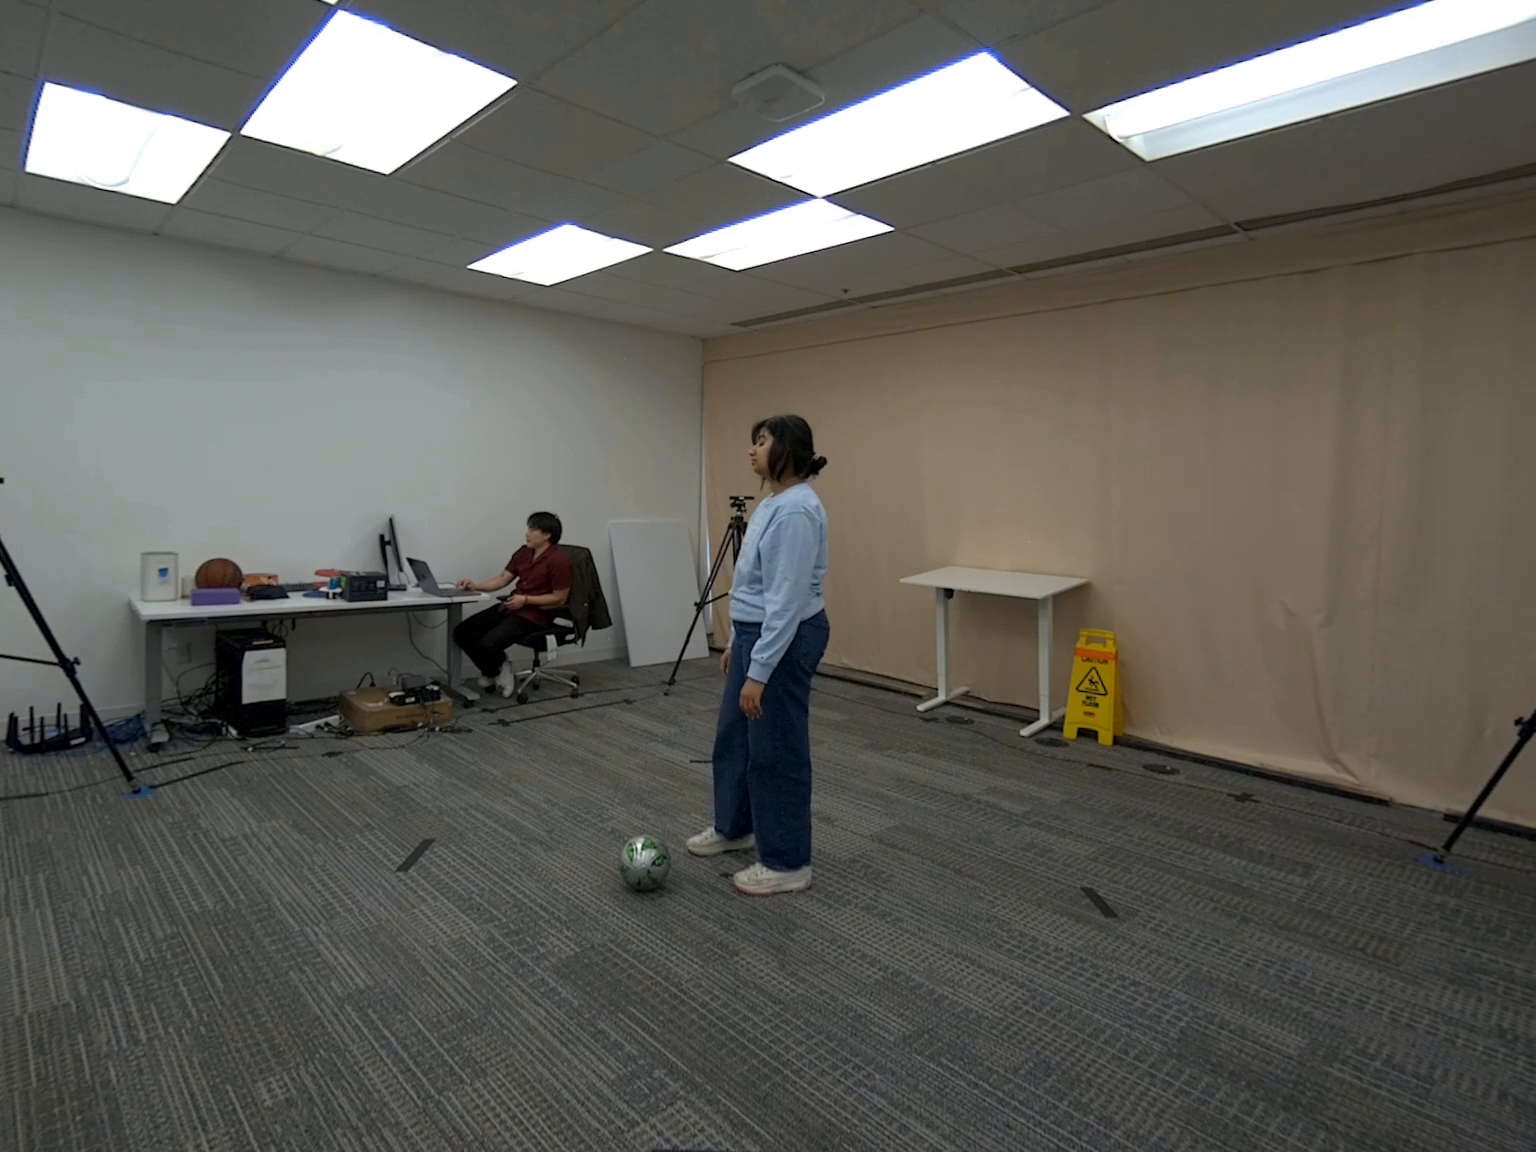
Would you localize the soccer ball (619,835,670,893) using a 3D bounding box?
[{"bbox_3d":[-0.446,1.015,2.985,0.187,0.187,0.188,1,4,-1],"label":"soccer ball"}]
